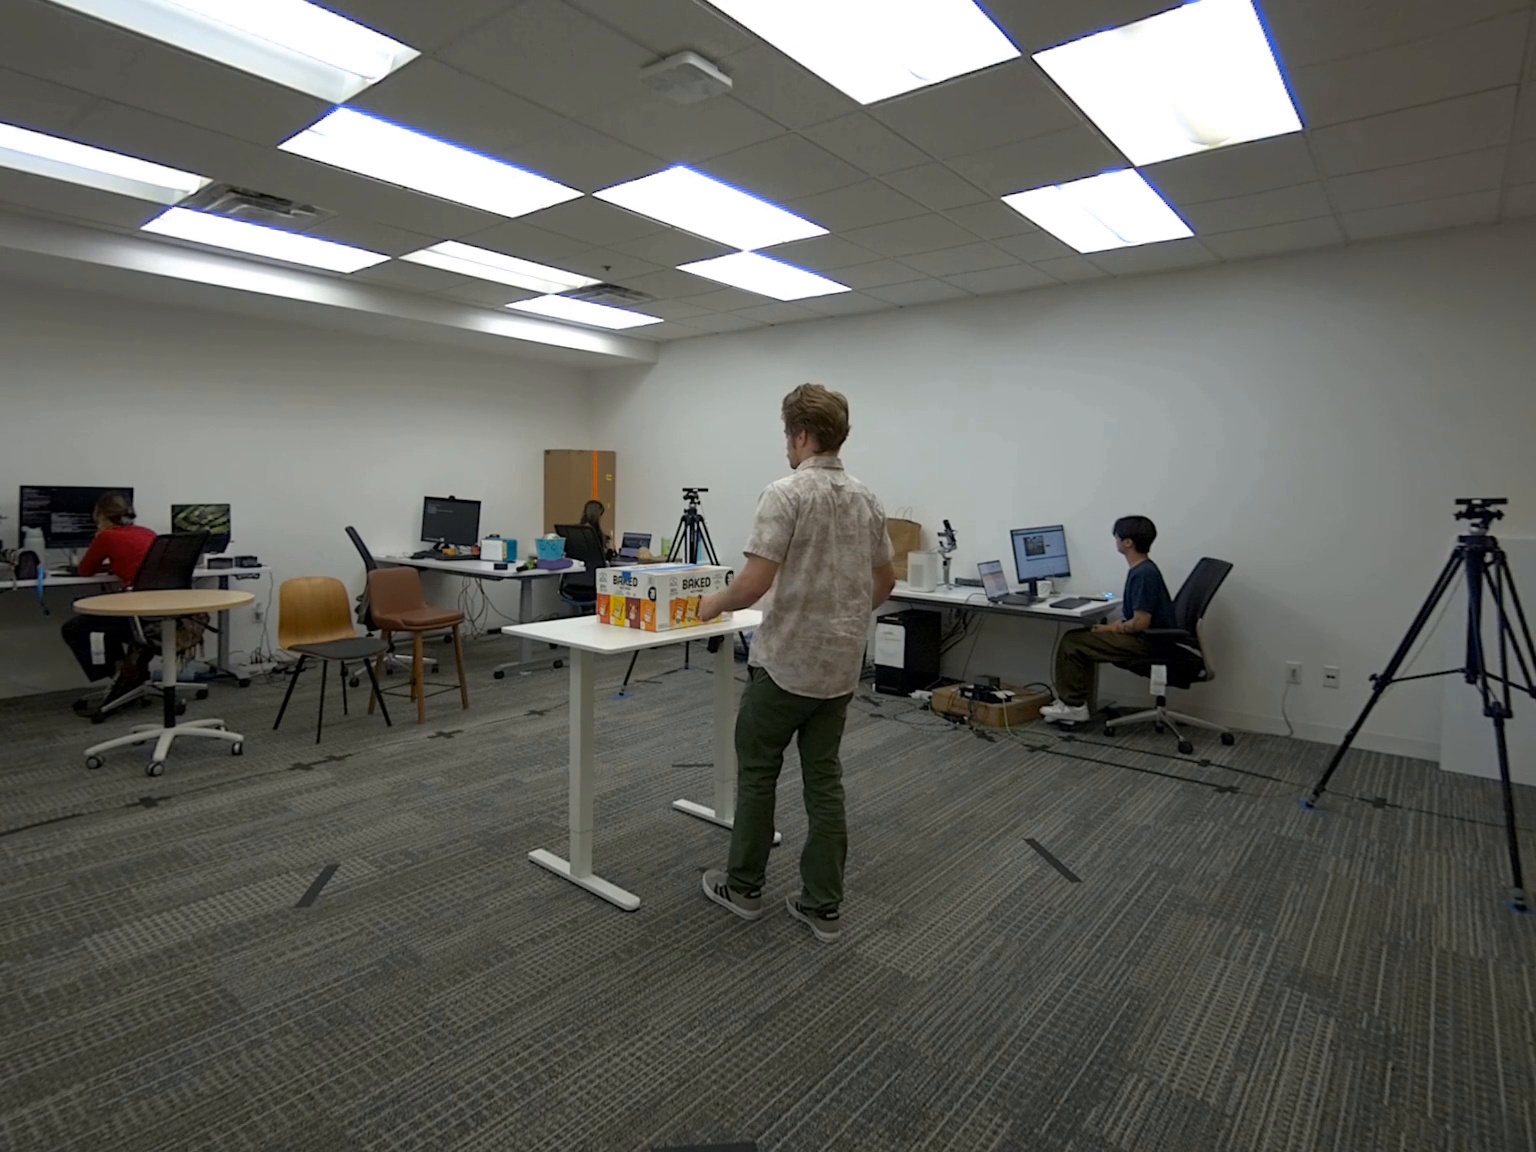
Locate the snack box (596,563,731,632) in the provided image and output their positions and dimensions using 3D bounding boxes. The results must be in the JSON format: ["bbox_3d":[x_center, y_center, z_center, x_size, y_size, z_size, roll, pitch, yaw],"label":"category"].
[{"bbox_3d":[-0.401,0.069,3.232,0.352,0.205,0.393,5,7,41],"label":"snack box"}]
